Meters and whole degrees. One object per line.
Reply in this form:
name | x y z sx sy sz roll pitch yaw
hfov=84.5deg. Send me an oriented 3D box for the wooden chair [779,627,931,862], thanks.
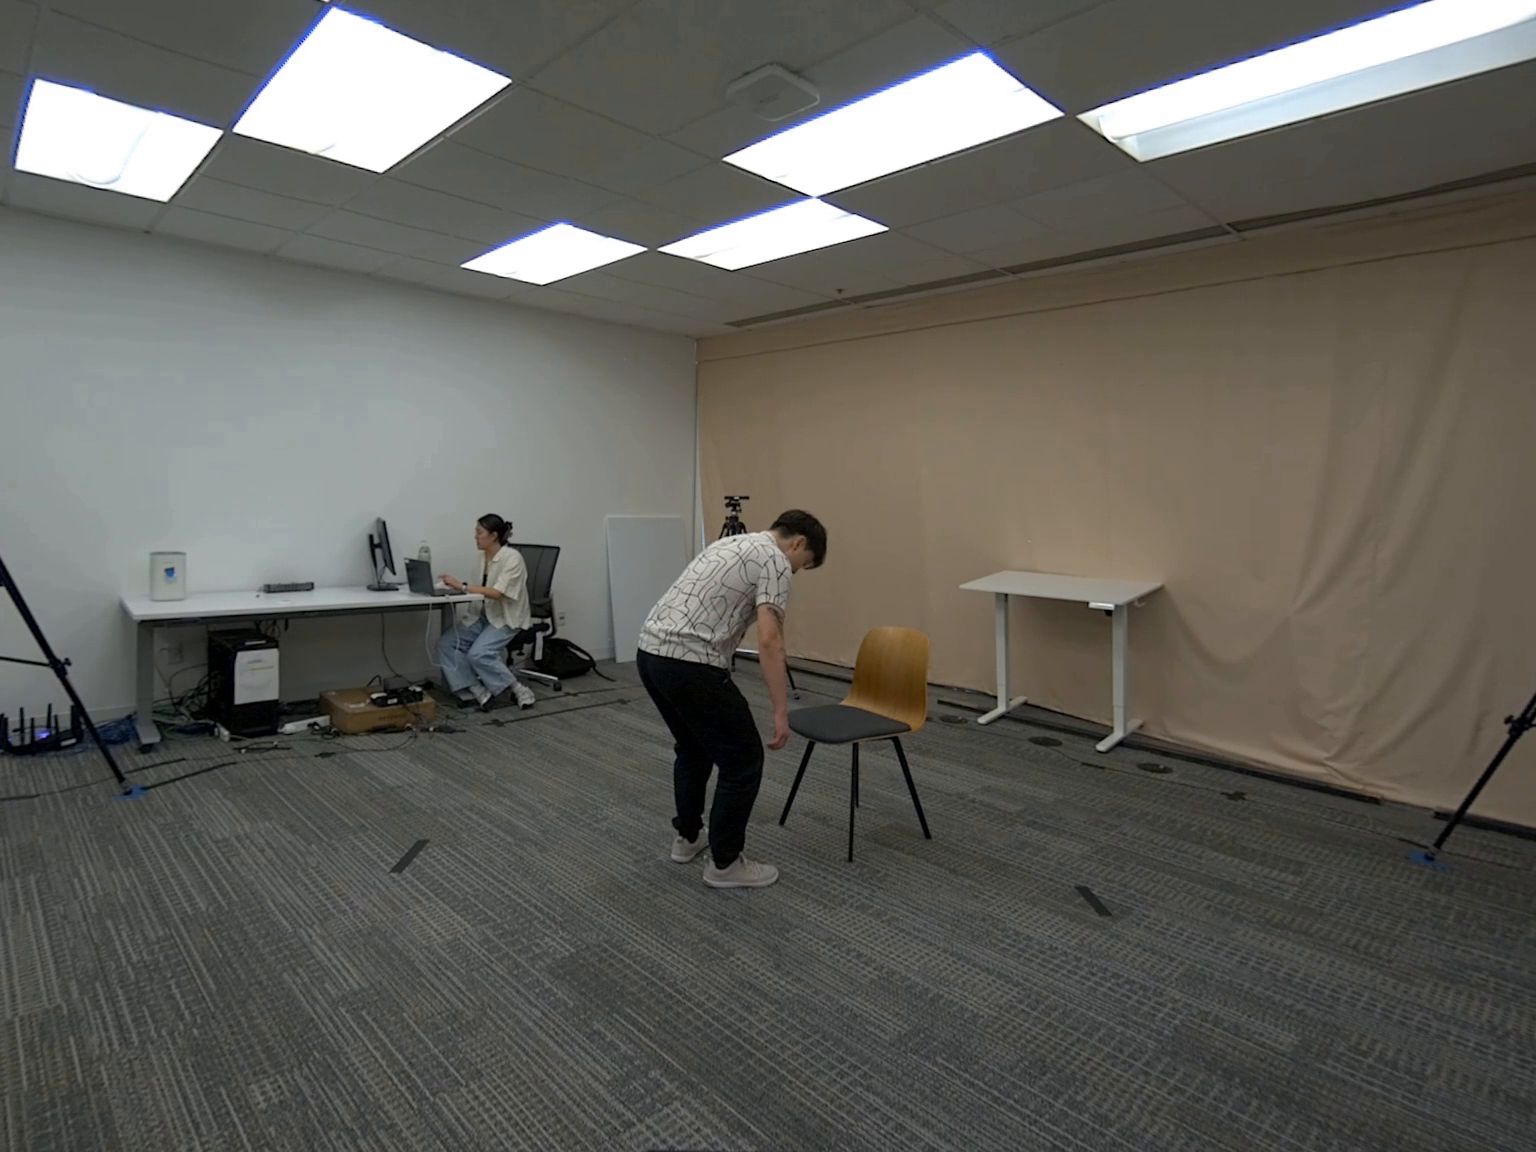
wooden chair | 0.361 0.653 3.512 0.510 0.877 0.490 5 1 -36
